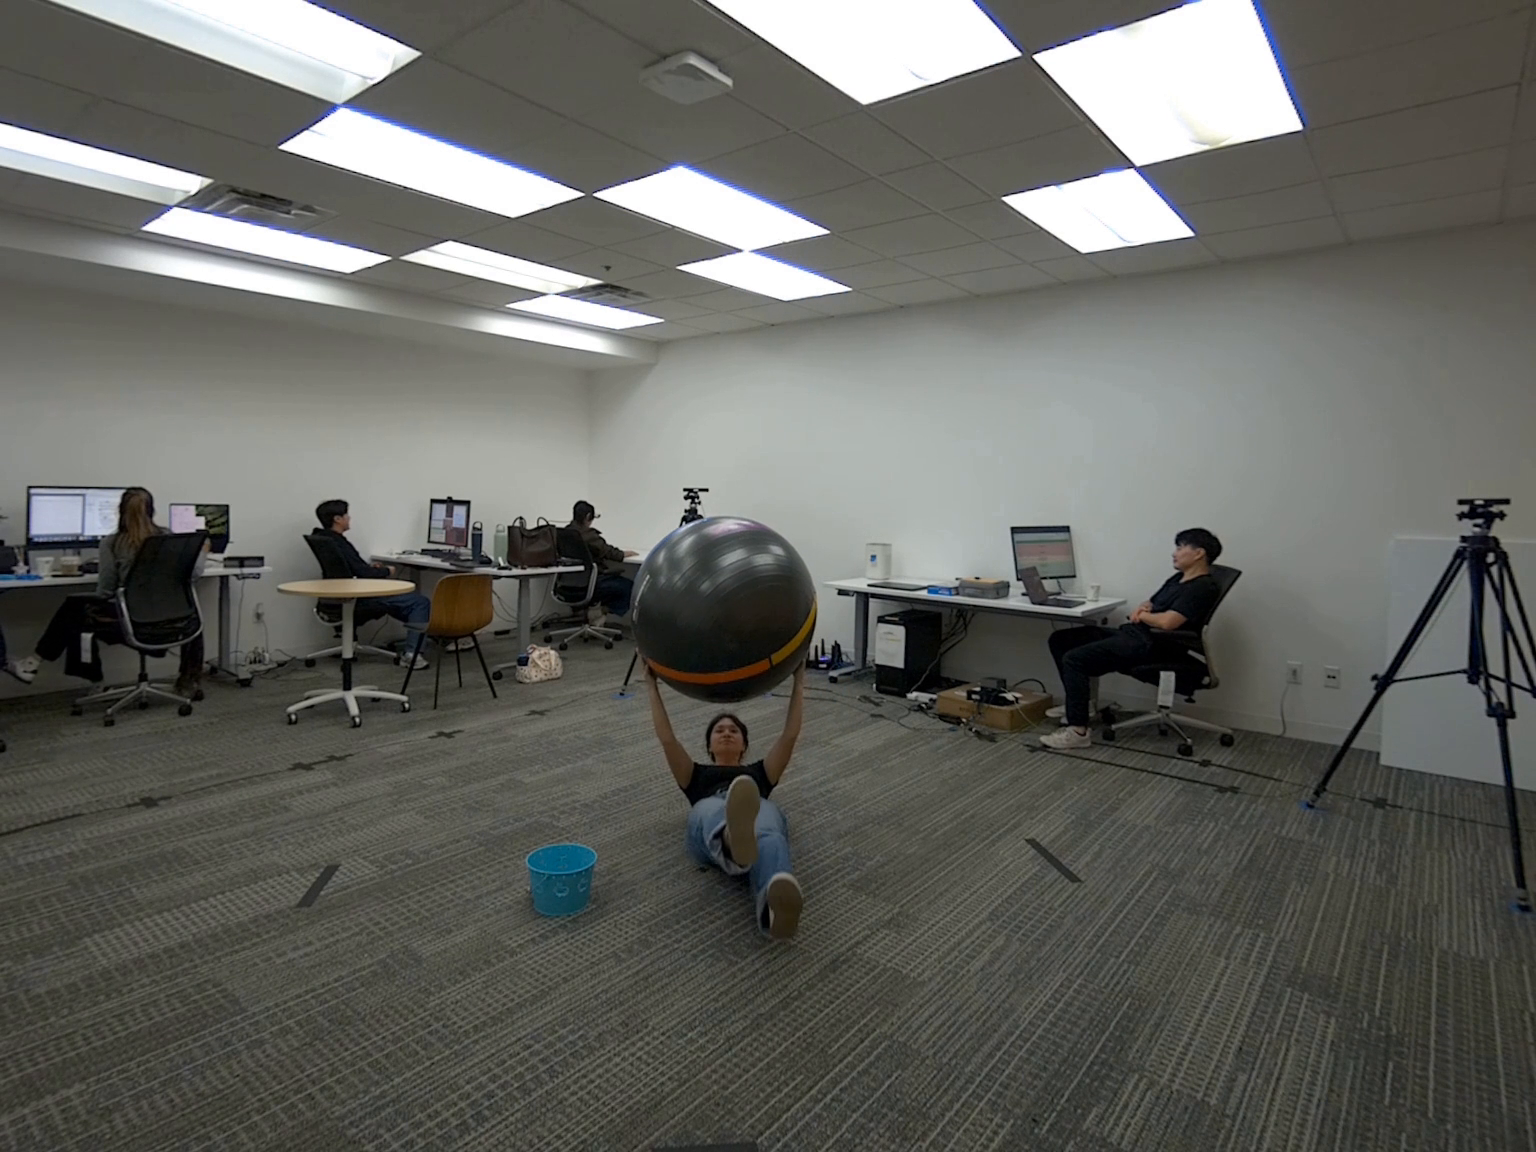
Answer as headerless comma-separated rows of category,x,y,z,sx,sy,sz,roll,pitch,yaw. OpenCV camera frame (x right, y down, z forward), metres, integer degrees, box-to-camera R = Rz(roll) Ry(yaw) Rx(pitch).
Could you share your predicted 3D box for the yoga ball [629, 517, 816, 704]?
yoga ball,-0.187,0.133,3.467,0.757,0.755,0.762,1,4,-2
